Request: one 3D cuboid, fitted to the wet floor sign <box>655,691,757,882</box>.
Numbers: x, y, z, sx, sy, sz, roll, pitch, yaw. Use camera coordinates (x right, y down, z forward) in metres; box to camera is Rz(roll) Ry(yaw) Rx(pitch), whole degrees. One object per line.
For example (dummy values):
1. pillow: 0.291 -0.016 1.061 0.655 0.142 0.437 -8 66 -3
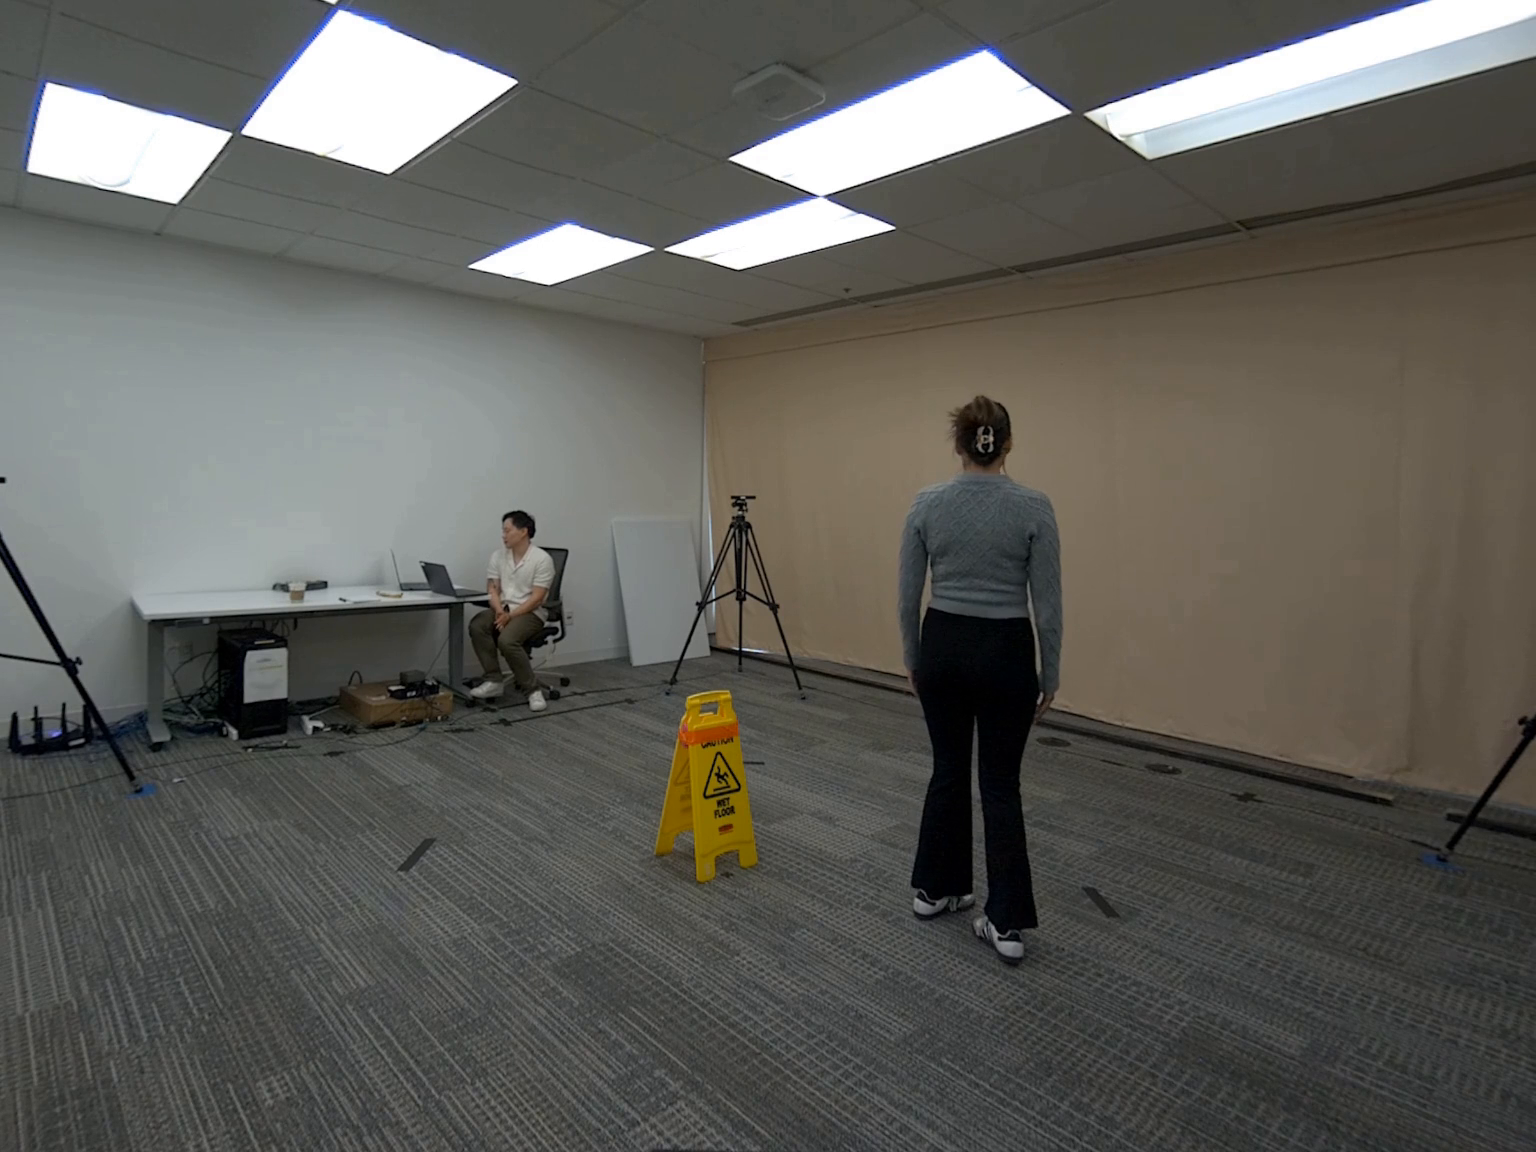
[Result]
1. wet floor sign: -0.240 0.767 3.211 0.276 0.645 0.297 -1 4 -40
